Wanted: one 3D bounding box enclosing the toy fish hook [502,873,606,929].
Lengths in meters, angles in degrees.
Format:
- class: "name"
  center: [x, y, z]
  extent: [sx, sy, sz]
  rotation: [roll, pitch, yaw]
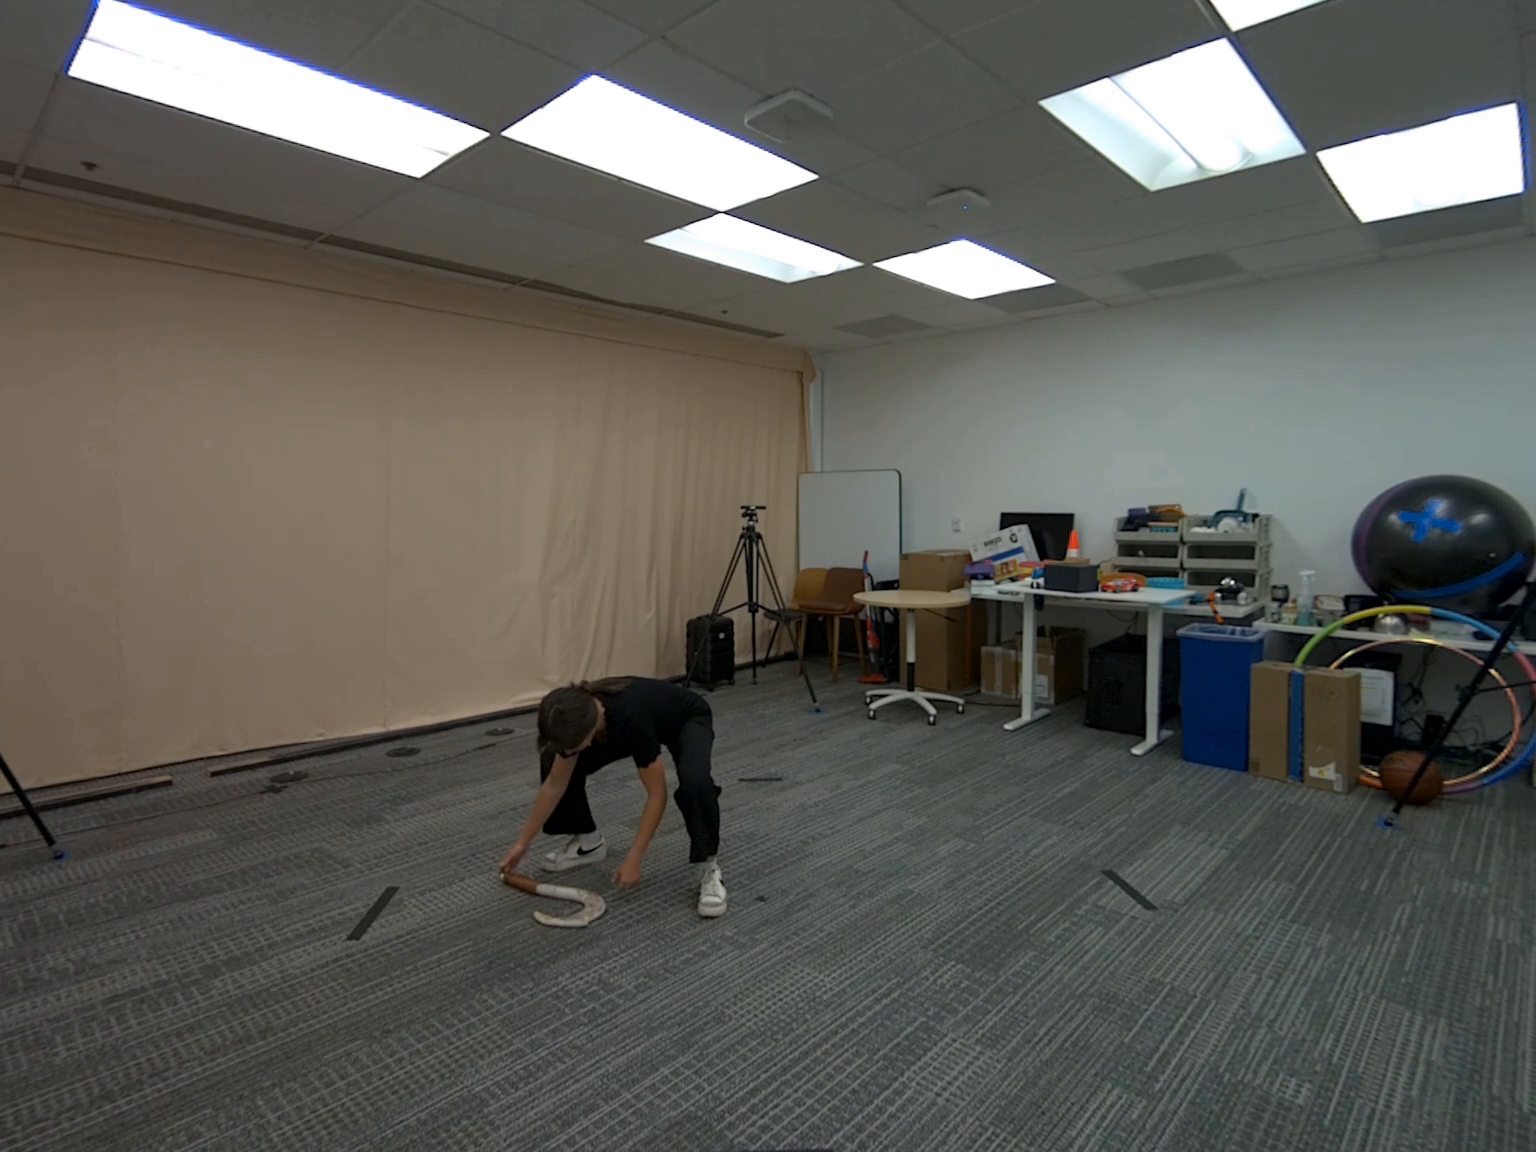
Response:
- class: "toy fish hook"
  center: [-0.792, 1.135, 2.956]
  extent: [0.521, 0.048, 0.218]
  rotation: [1, 3, 31]
